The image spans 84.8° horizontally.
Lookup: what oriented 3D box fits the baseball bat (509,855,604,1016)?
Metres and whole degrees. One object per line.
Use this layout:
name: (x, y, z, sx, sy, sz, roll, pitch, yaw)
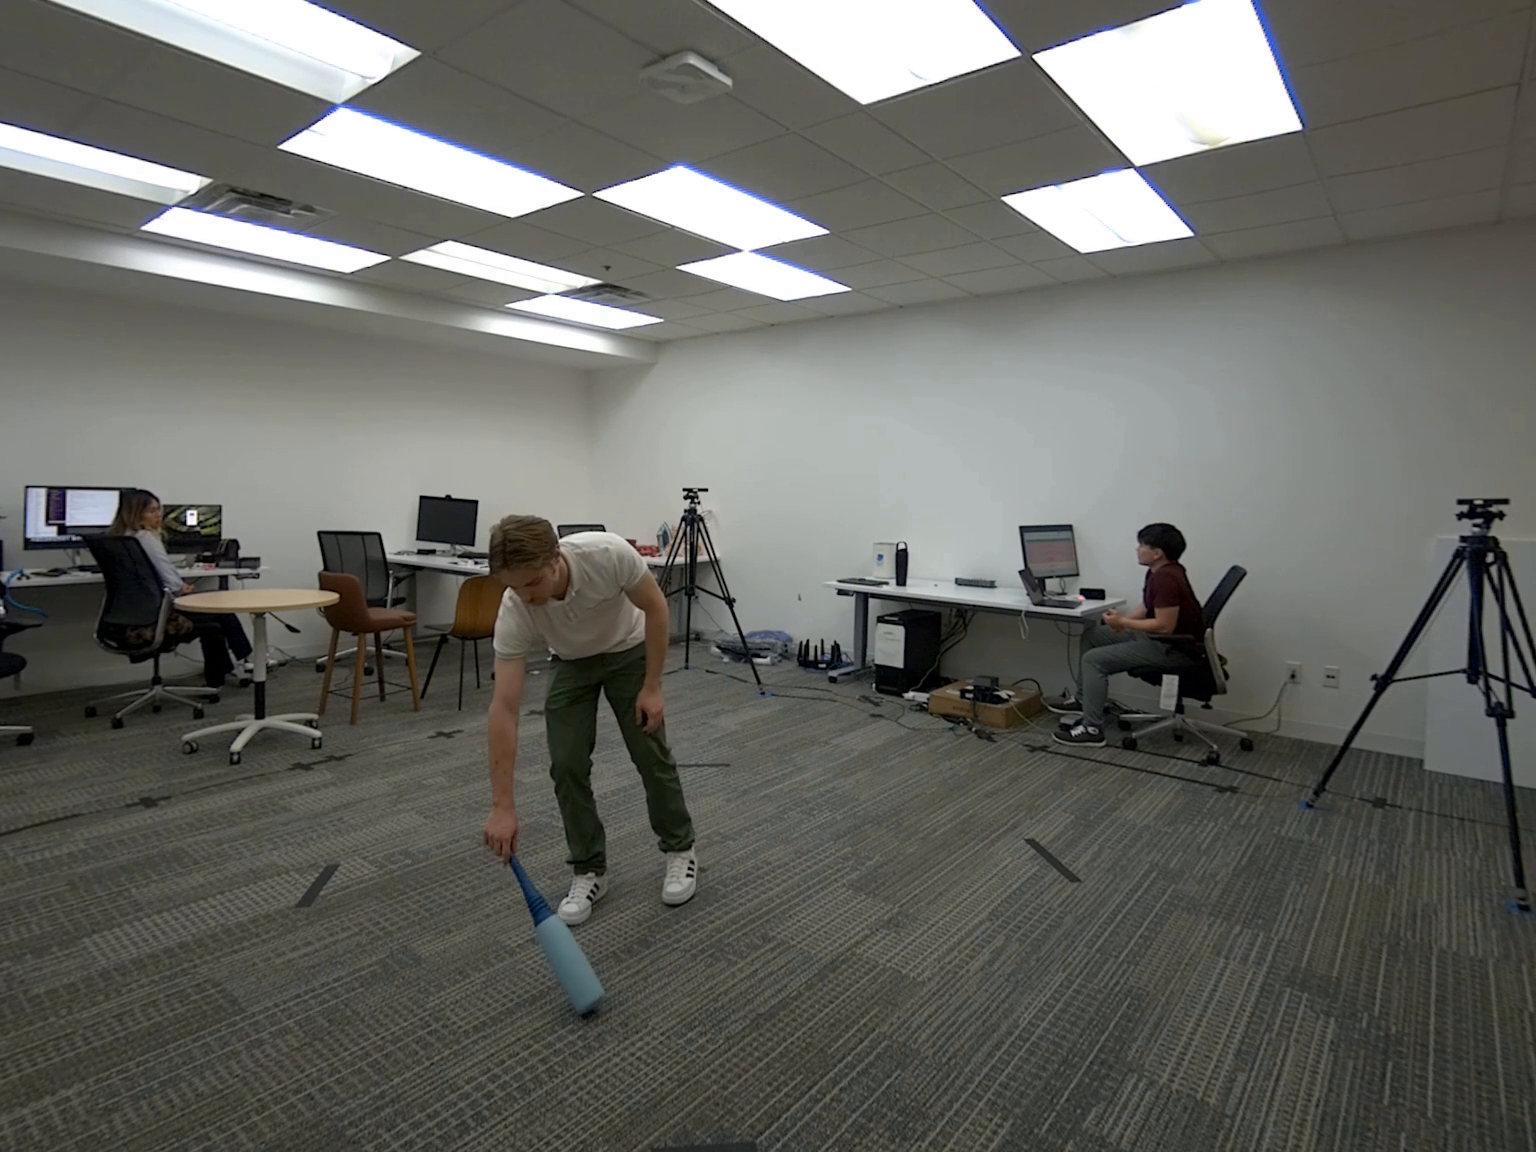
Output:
baseball bat: (-0.626, 0.931, 2.342, 0.559, 0.089, 0.086, 51, 27, 22)
